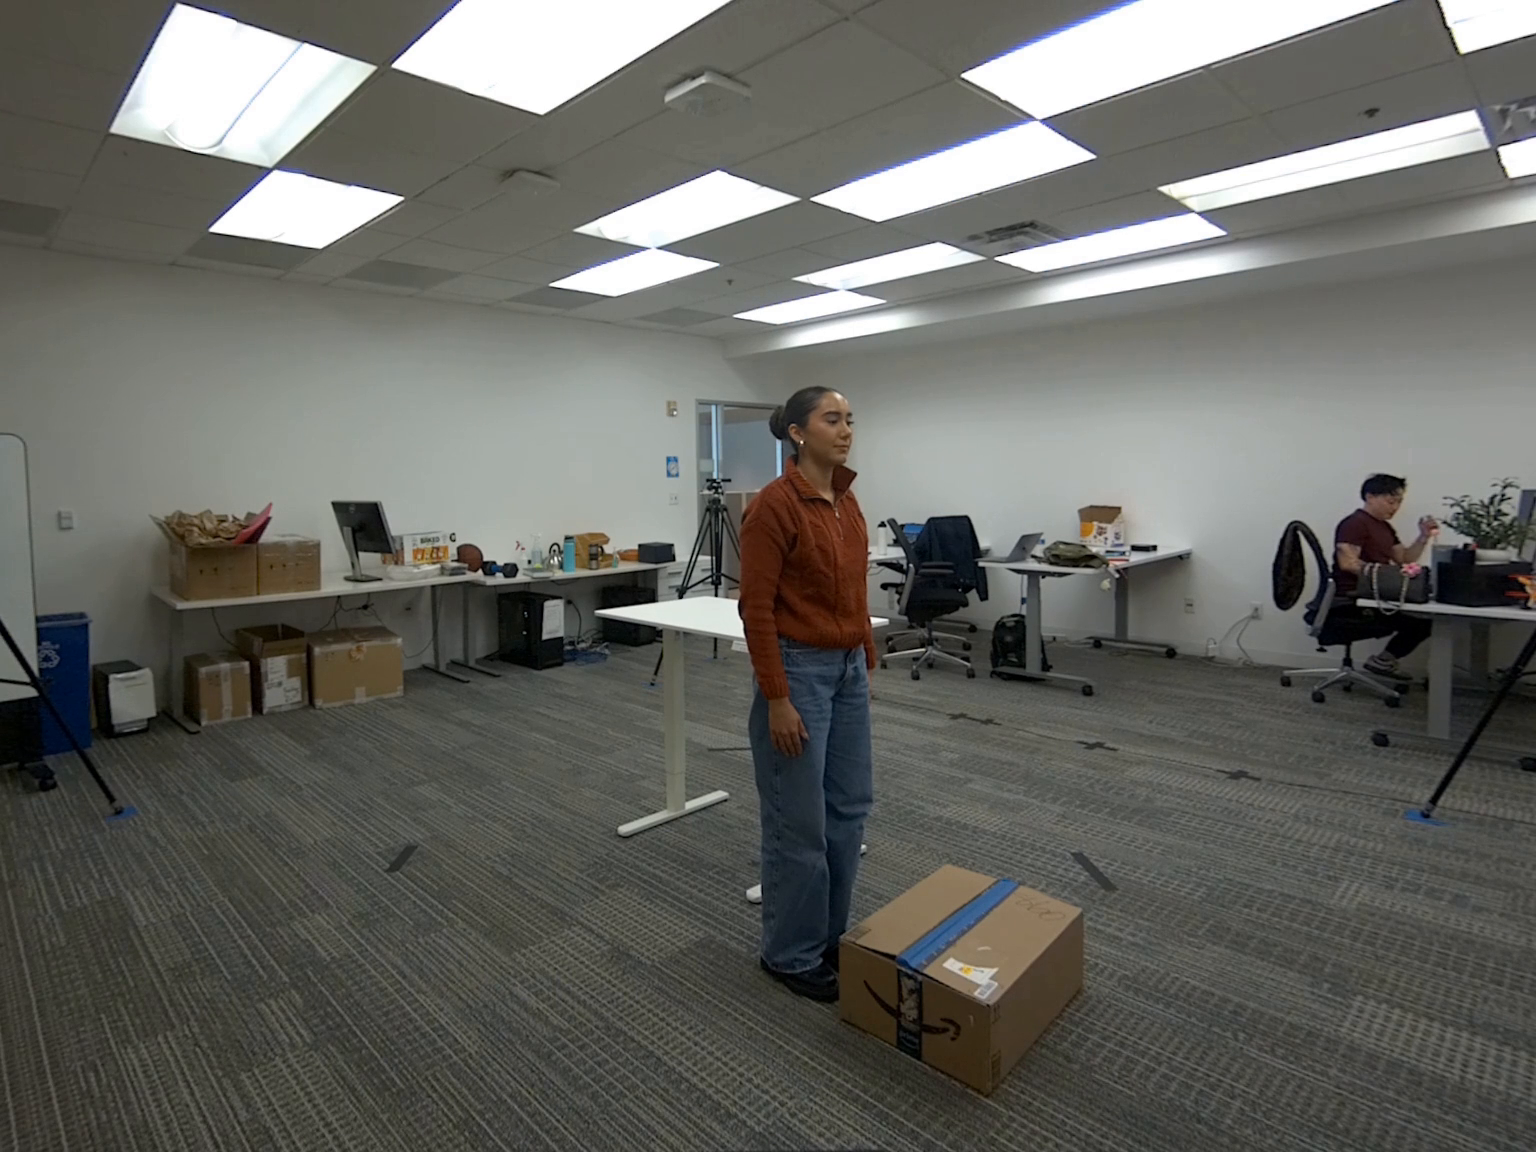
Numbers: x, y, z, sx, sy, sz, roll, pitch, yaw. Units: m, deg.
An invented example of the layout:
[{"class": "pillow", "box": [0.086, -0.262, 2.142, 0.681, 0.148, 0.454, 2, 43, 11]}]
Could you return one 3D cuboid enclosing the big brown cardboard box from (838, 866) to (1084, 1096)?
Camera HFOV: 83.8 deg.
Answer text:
[{"class": "big brown cardboard box", "box": [0.522, 1.021, 2.252, 0.430, 0.232, 0.573, 4, 7, 41]}]
